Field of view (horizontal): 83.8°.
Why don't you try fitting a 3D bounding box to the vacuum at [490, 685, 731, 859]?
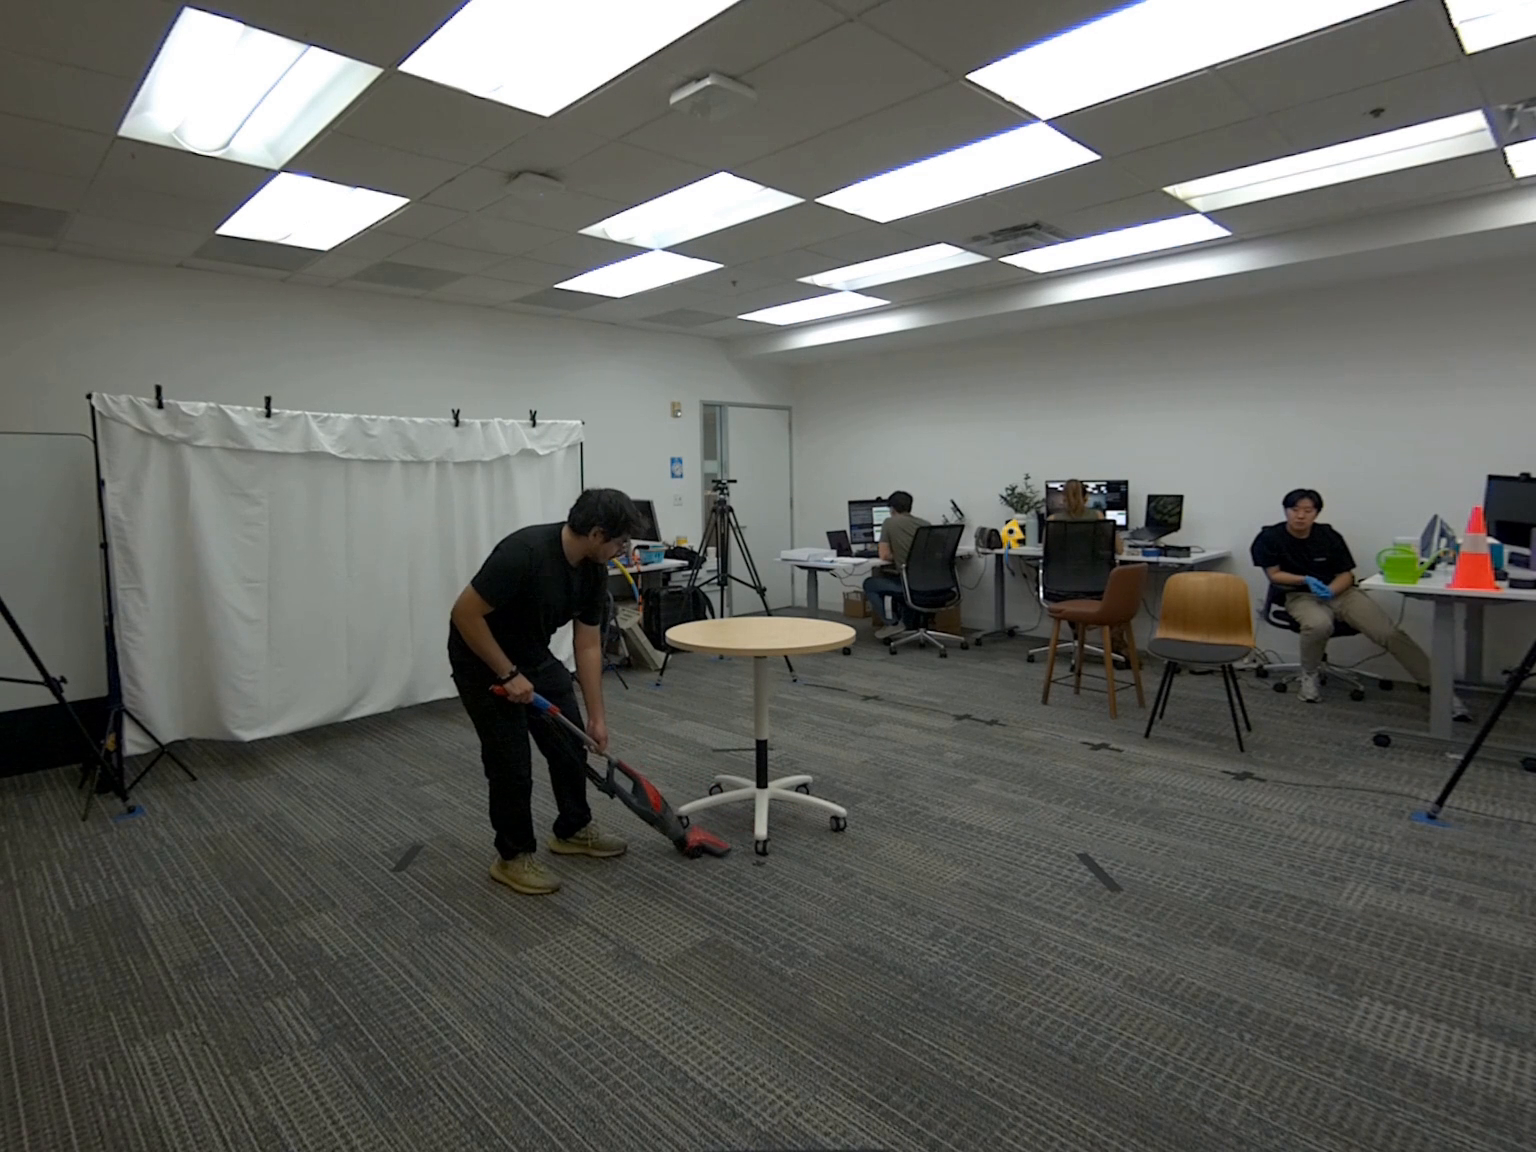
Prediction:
[{"bbox_3d":[-0.563,0.677,3.008,1.015,0.144,0.260,47,-19,-29],"label":"vacuum"}]
